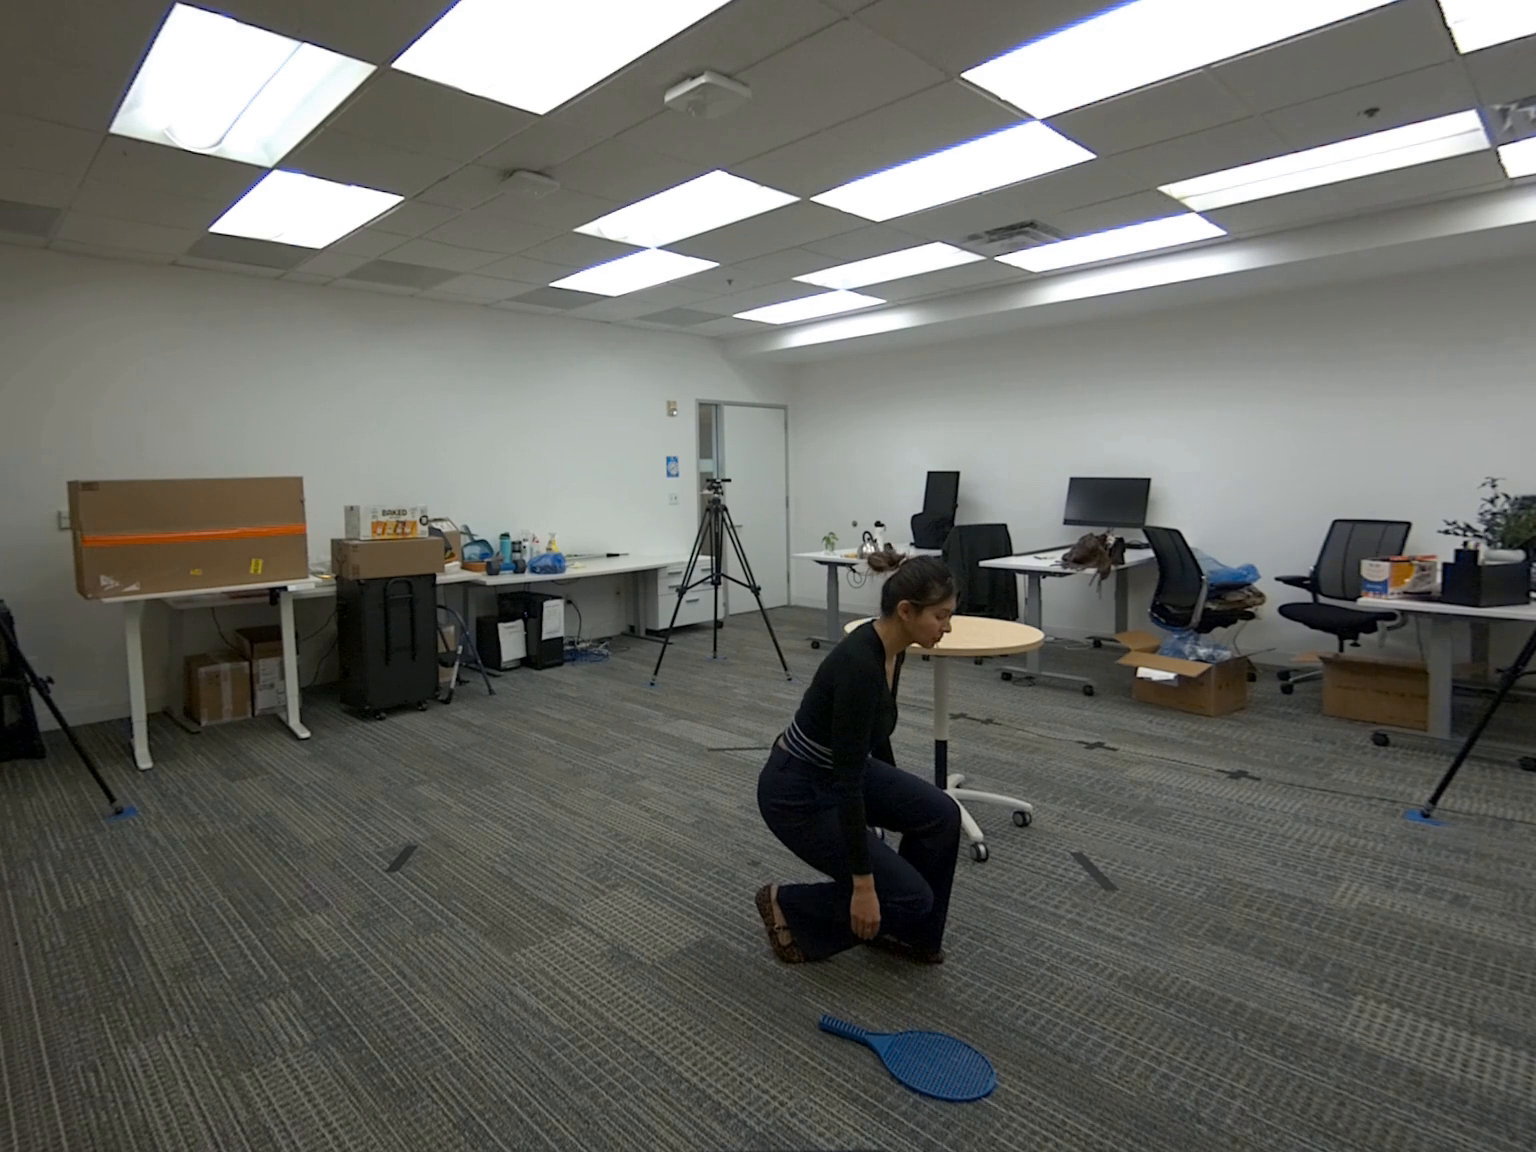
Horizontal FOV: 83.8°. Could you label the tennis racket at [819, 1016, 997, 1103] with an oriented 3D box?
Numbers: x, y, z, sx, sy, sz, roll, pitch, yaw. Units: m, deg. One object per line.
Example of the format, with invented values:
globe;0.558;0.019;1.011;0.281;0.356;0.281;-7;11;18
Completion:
tennis racket;0.329;1.151;2.061;0.444;0.031;0.209;4;9;29
